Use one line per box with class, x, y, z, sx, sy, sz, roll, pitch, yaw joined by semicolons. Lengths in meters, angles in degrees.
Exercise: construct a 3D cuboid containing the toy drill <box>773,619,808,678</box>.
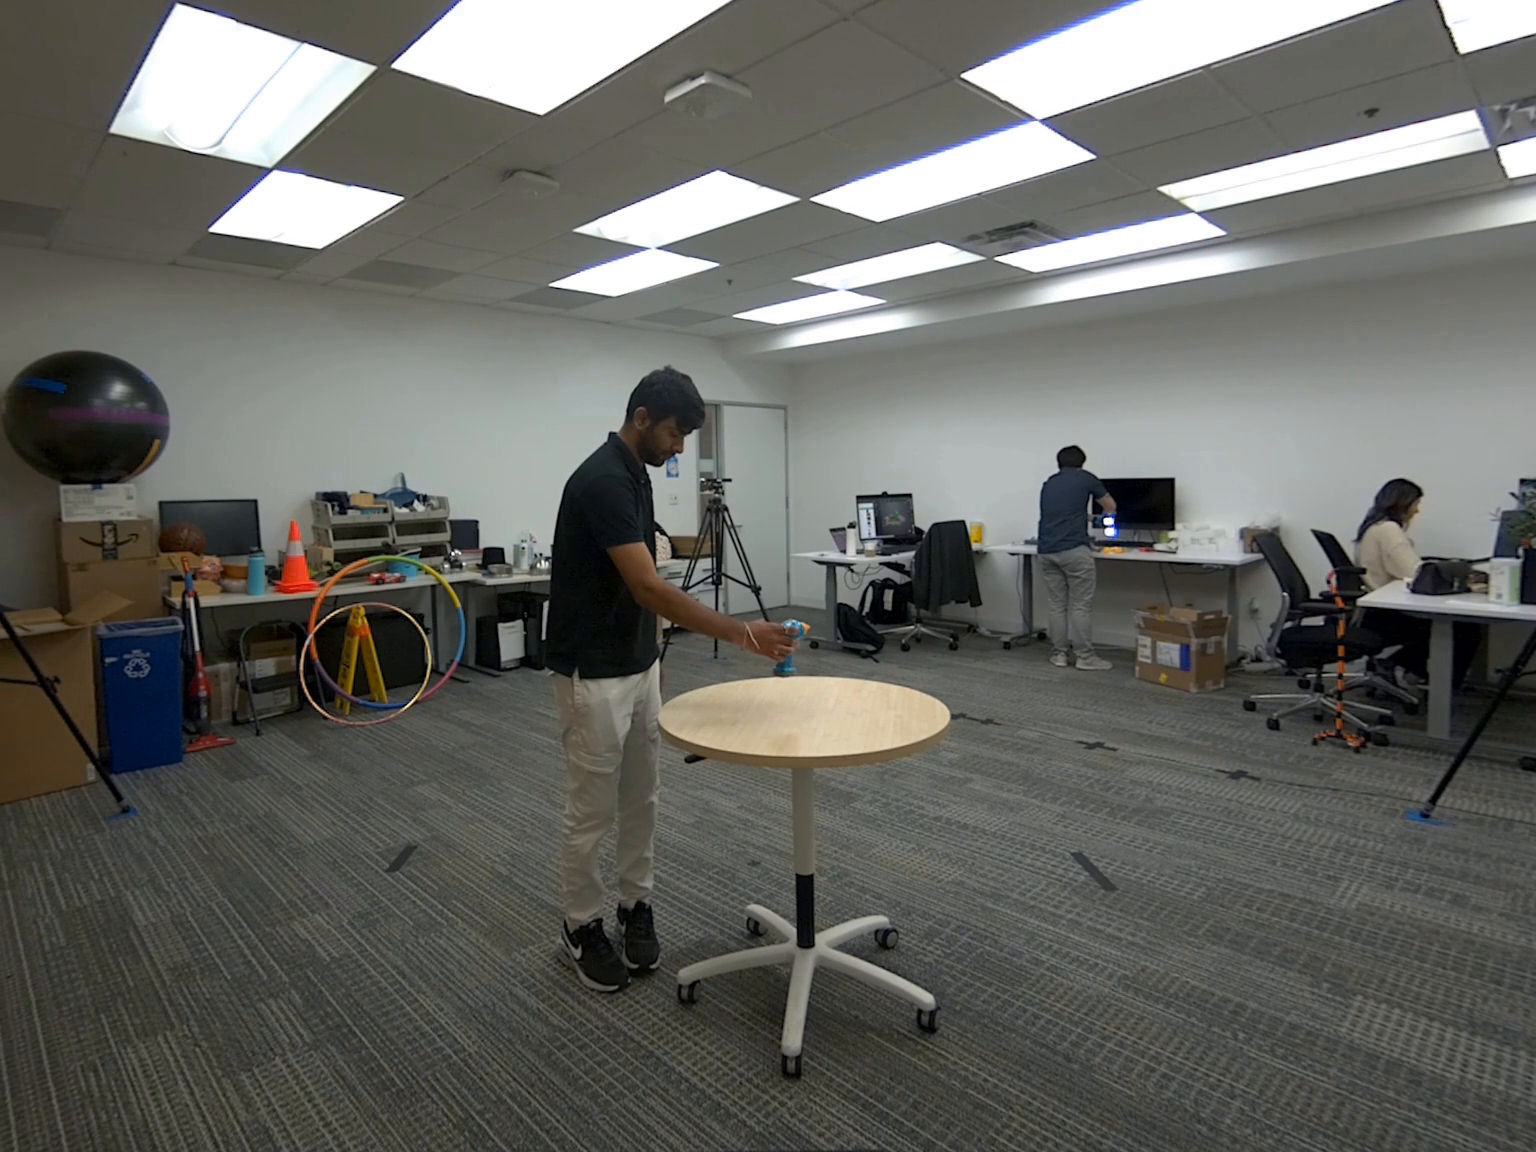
toy drill;0.067;0.183;2.289;0.063;0.145;0.166;5;7;34
